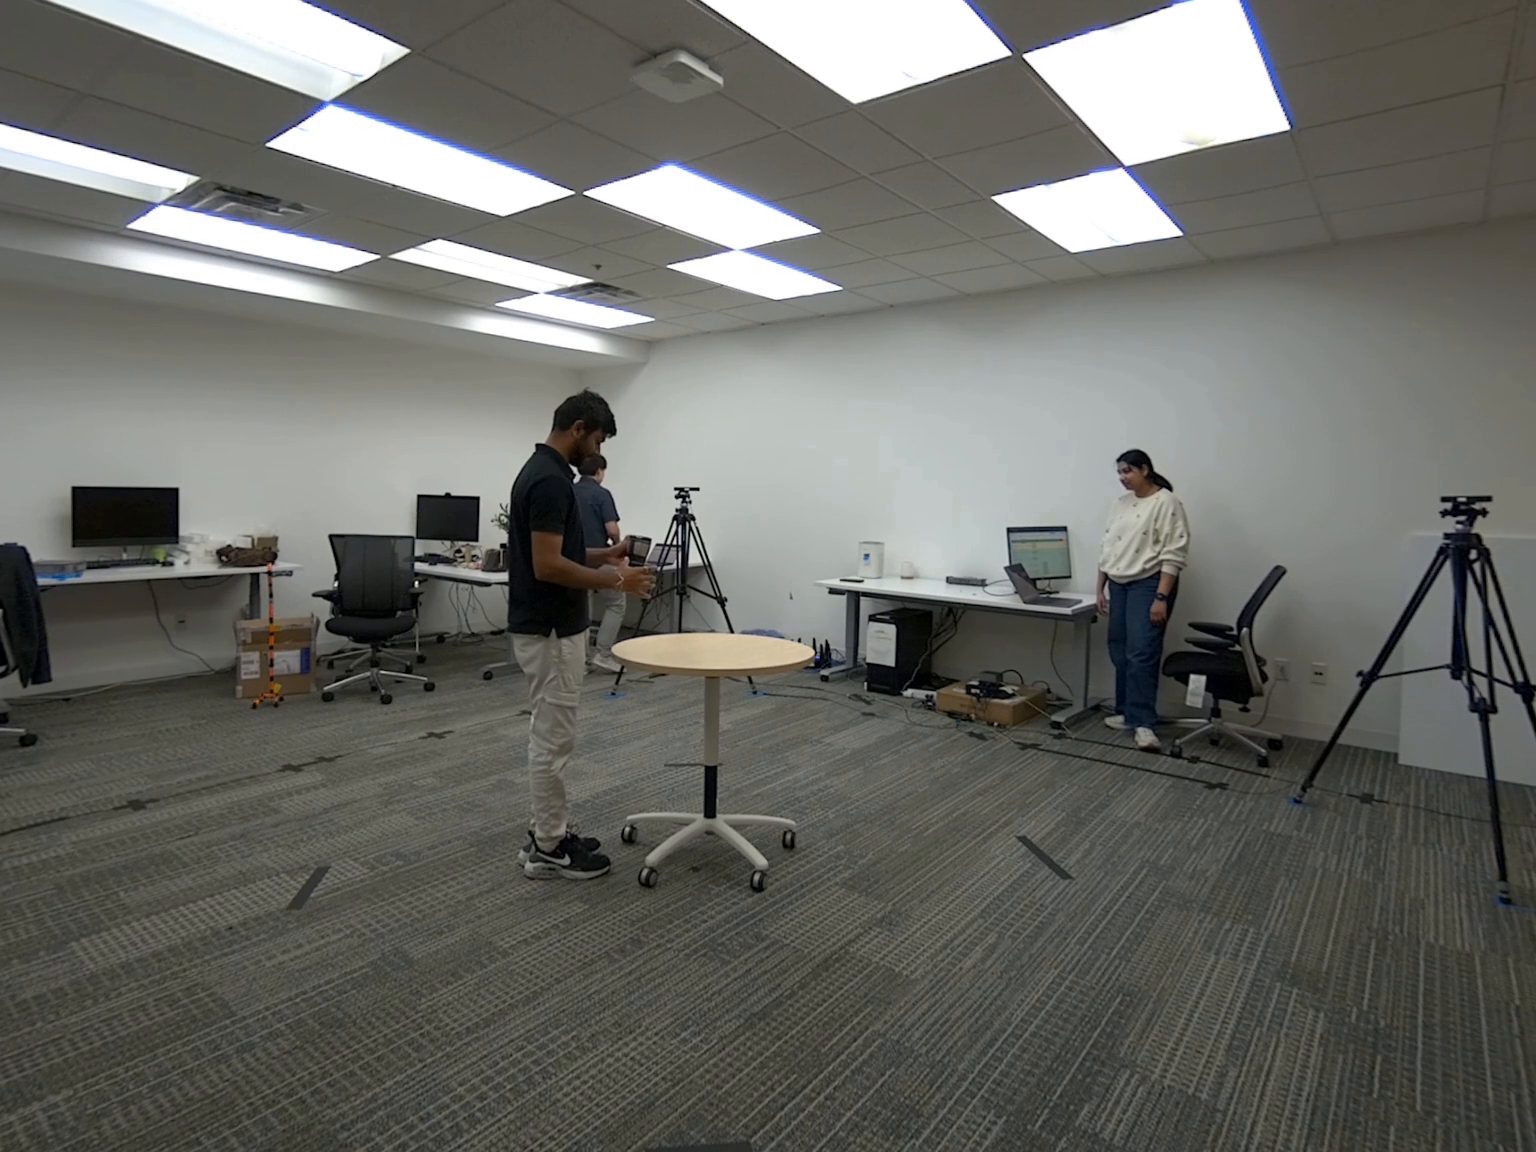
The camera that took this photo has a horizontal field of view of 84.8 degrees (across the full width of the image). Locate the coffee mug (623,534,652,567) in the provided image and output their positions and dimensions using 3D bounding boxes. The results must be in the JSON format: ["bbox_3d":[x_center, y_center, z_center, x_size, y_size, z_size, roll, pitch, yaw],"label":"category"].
[{"bbox_3d":[-0.507,-0.048,3.154,0.087,0.203,0.124,9,2,-11],"label":"coffee mug"}]
